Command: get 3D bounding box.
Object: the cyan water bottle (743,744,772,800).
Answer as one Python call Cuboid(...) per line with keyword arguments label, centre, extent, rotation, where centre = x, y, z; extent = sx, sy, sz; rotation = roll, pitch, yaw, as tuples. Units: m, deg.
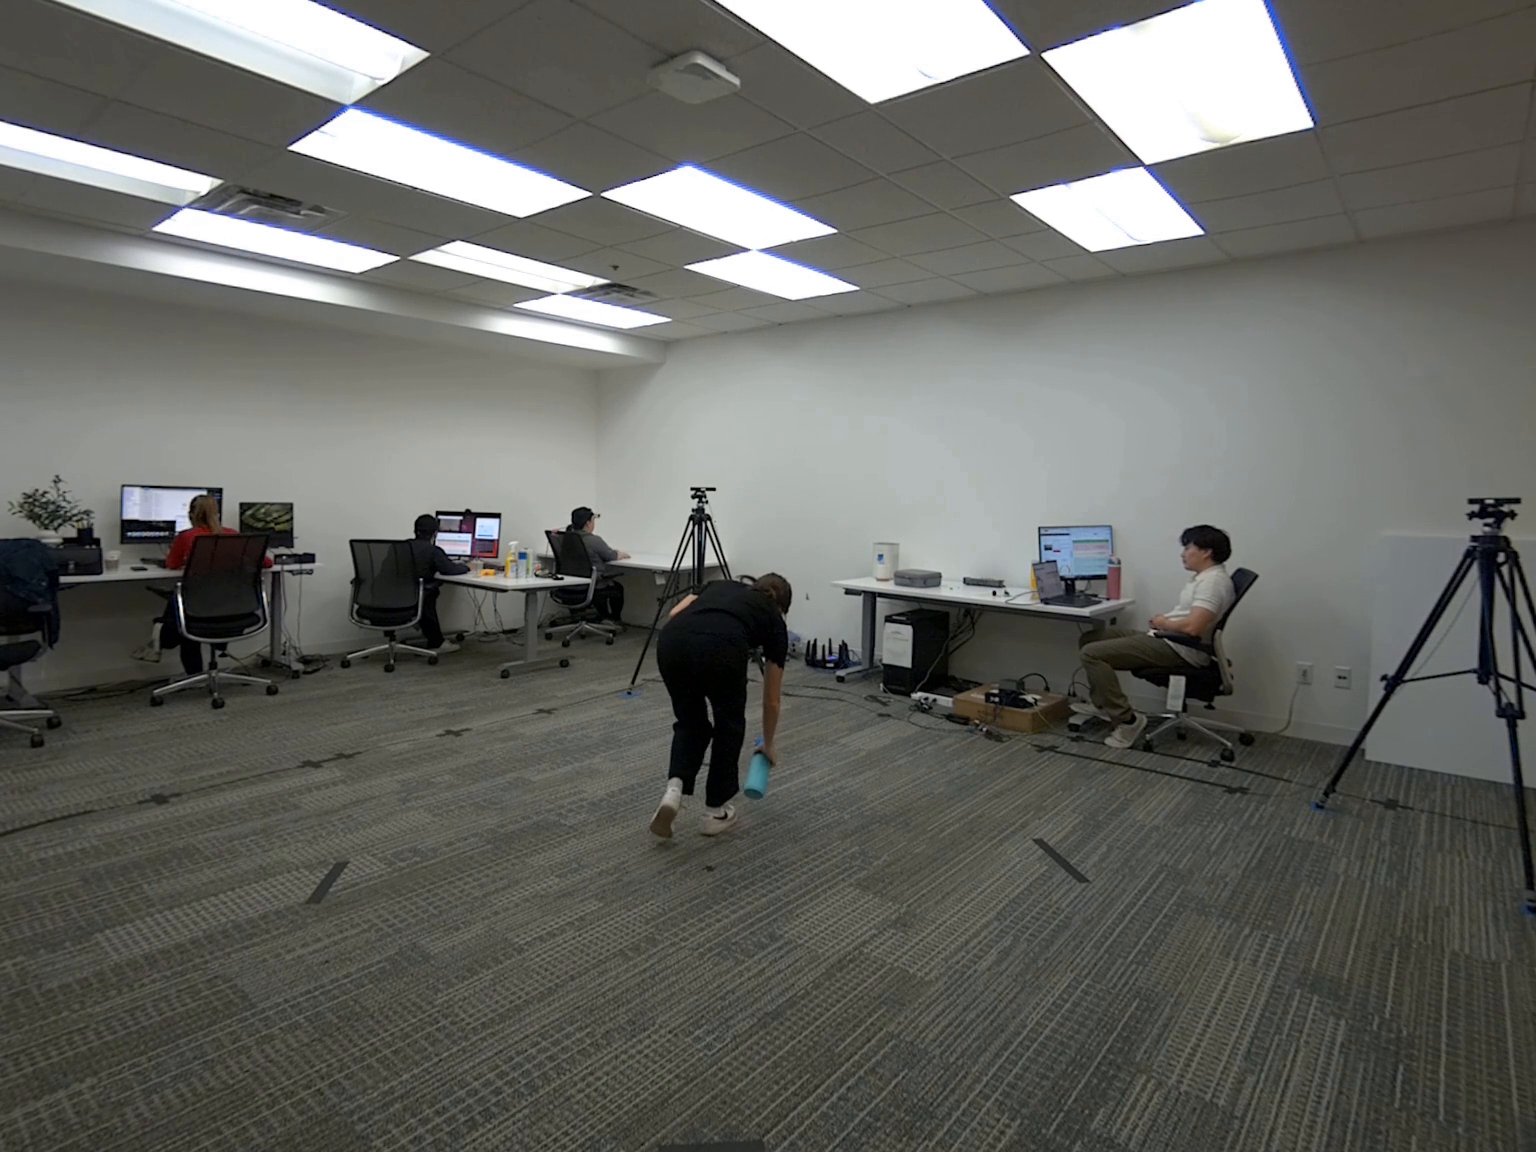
Cuboid(label="cyan water bottle", centre=(-0.047, 0.834, 3.747), extent=(0.094, 0.089, 0.288), rotation=(1, 43, 16))
